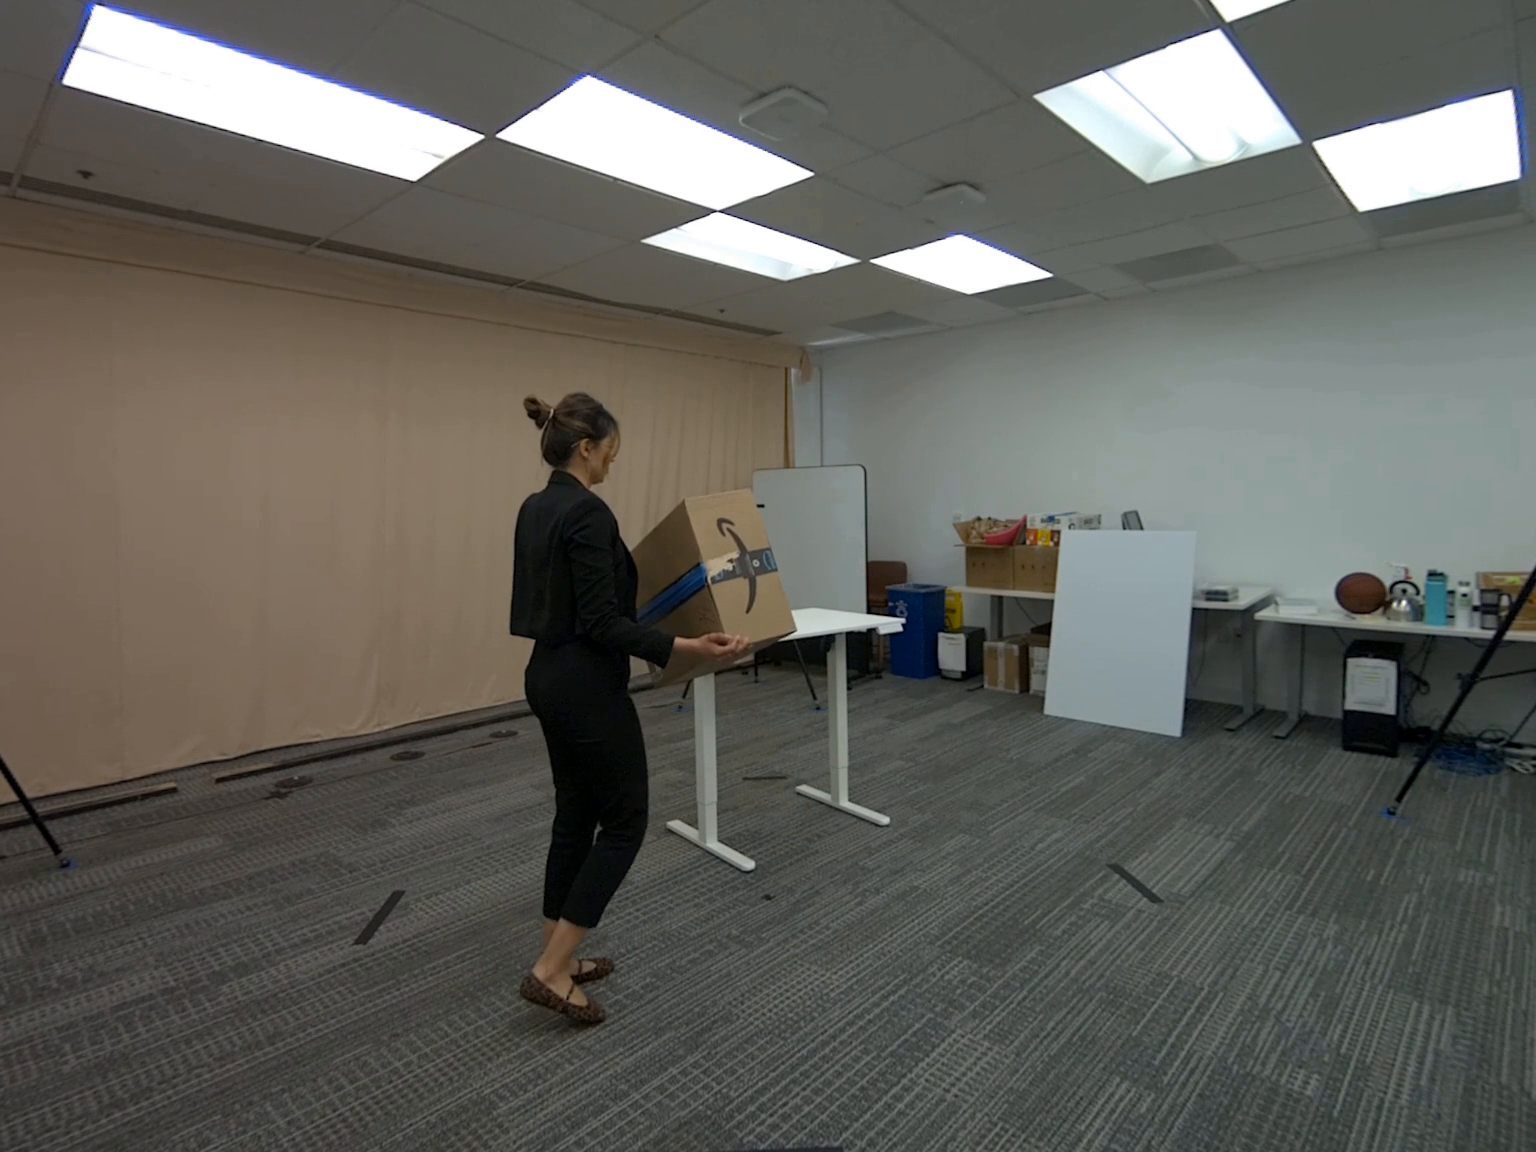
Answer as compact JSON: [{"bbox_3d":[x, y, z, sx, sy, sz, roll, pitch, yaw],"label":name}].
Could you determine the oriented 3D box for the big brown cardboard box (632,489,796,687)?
[{"bbox_3d":[-0.201,0.059,2.469,0.227,0.422,0.597,-10,-13,-32],"label":"big brown cardboard box"}]
